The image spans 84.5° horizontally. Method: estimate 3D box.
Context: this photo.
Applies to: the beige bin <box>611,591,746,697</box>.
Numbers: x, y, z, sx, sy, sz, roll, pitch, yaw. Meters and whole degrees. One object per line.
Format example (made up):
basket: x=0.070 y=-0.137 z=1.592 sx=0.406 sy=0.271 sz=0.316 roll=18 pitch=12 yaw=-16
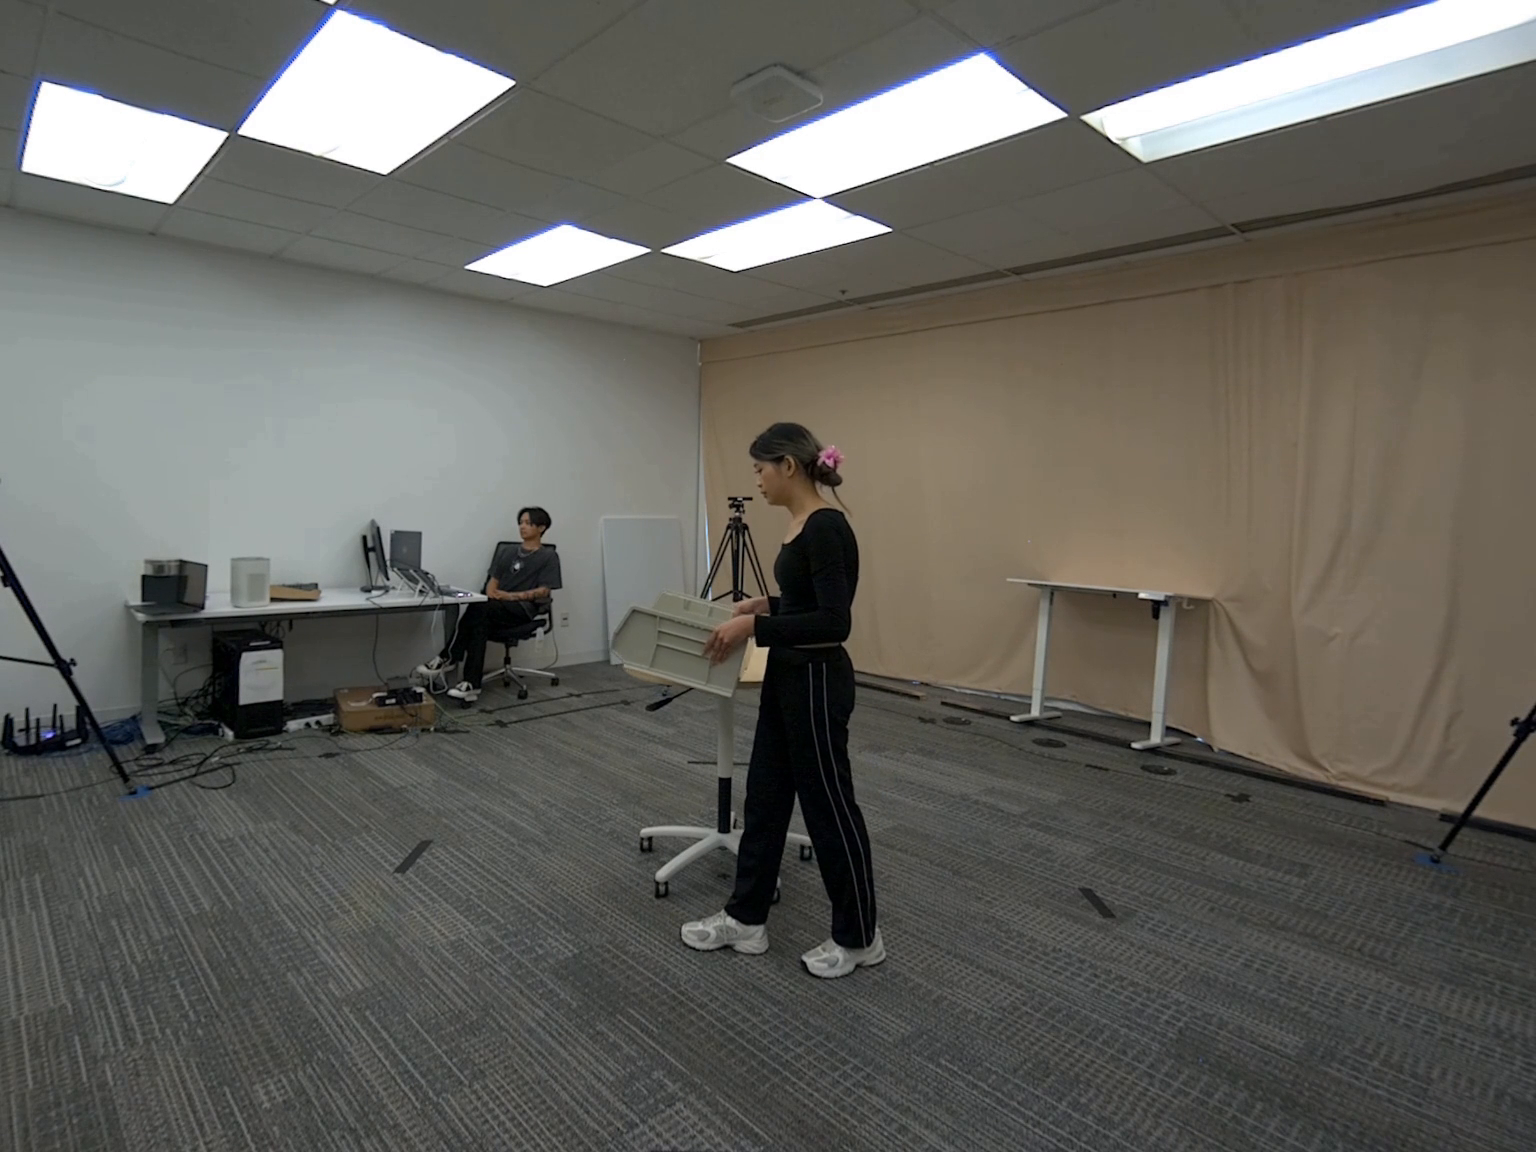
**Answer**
beige bin: x=-0.239 y=0.195 z=2.517 sx=0.379 sy=0.188 sz=0.422 roll=15 pitch=8 yaw=4
